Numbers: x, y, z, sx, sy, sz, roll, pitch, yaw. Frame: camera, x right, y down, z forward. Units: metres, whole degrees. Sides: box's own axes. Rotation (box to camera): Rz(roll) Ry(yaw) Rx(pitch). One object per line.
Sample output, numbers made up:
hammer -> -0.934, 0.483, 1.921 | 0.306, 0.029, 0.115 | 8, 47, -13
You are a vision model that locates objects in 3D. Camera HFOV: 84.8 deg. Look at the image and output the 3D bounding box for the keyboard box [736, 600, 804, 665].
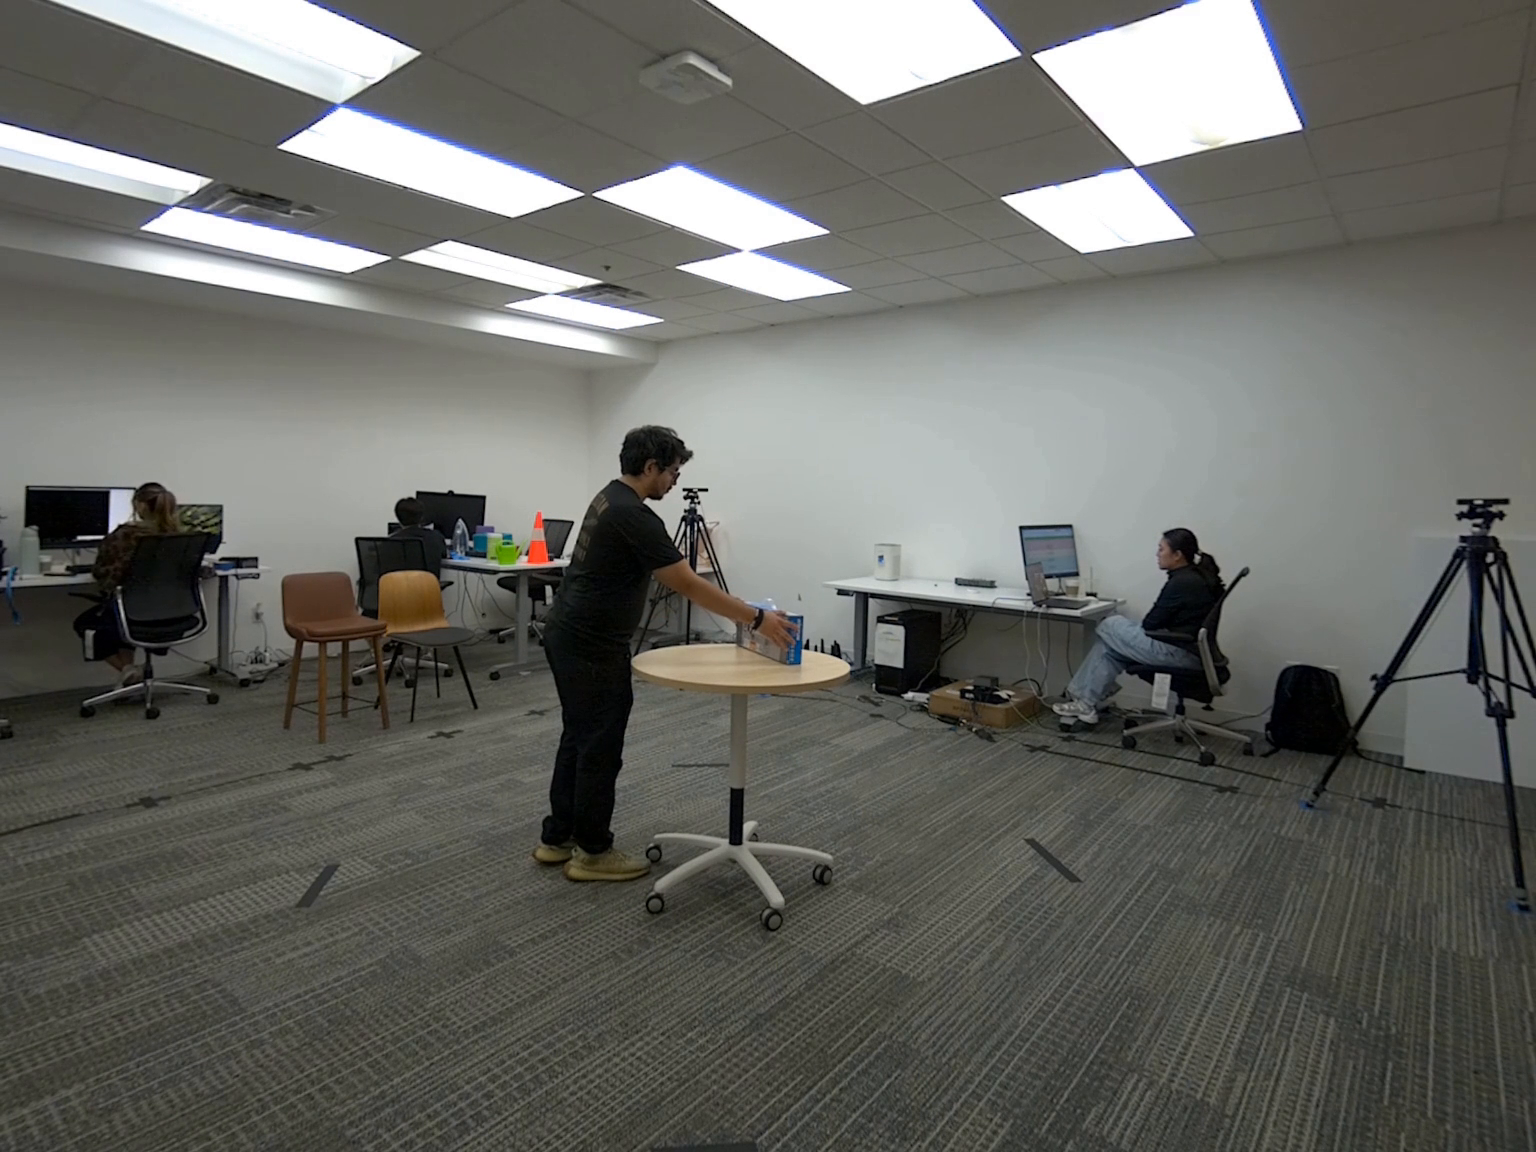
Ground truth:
keyboard box -> -0.012, 0.208, 3.150 | 0.058, 0.175, 0.449 | 1, 5, -26
